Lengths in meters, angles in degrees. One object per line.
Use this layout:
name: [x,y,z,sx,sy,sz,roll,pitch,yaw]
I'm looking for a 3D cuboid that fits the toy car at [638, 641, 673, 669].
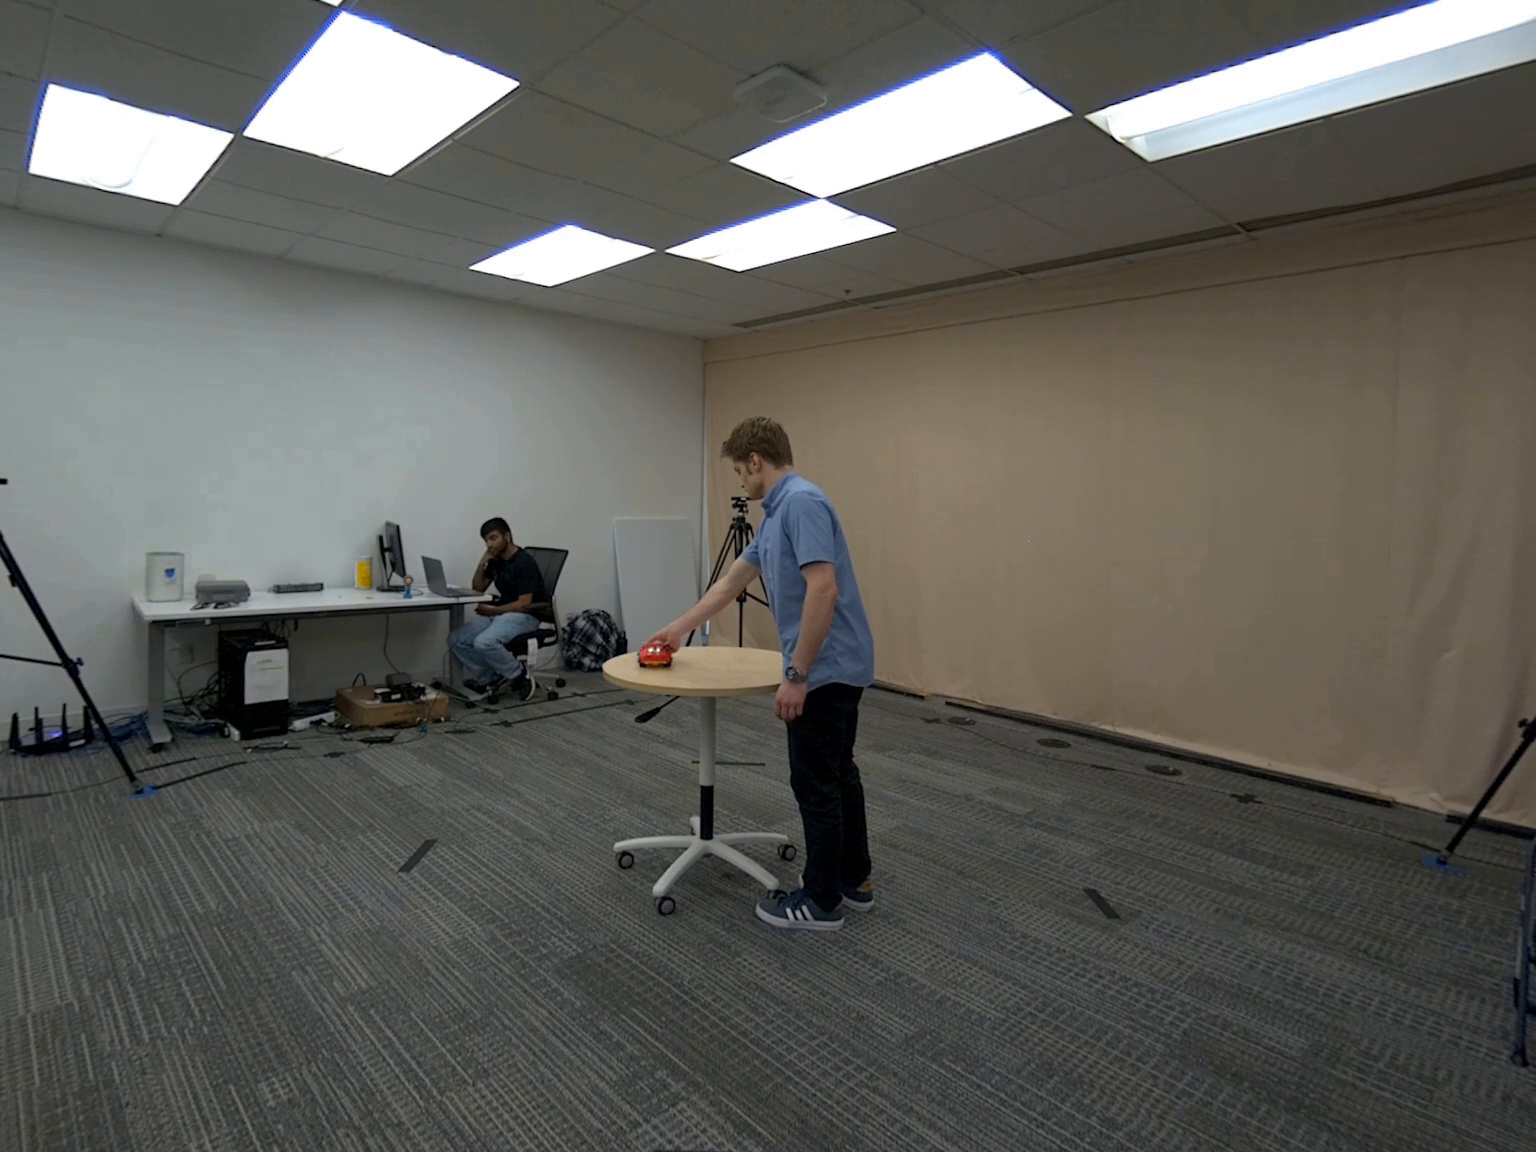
toy car: [-0.423,0.292,3.073,0.129,0.083,0.255,0,-6,-9]
